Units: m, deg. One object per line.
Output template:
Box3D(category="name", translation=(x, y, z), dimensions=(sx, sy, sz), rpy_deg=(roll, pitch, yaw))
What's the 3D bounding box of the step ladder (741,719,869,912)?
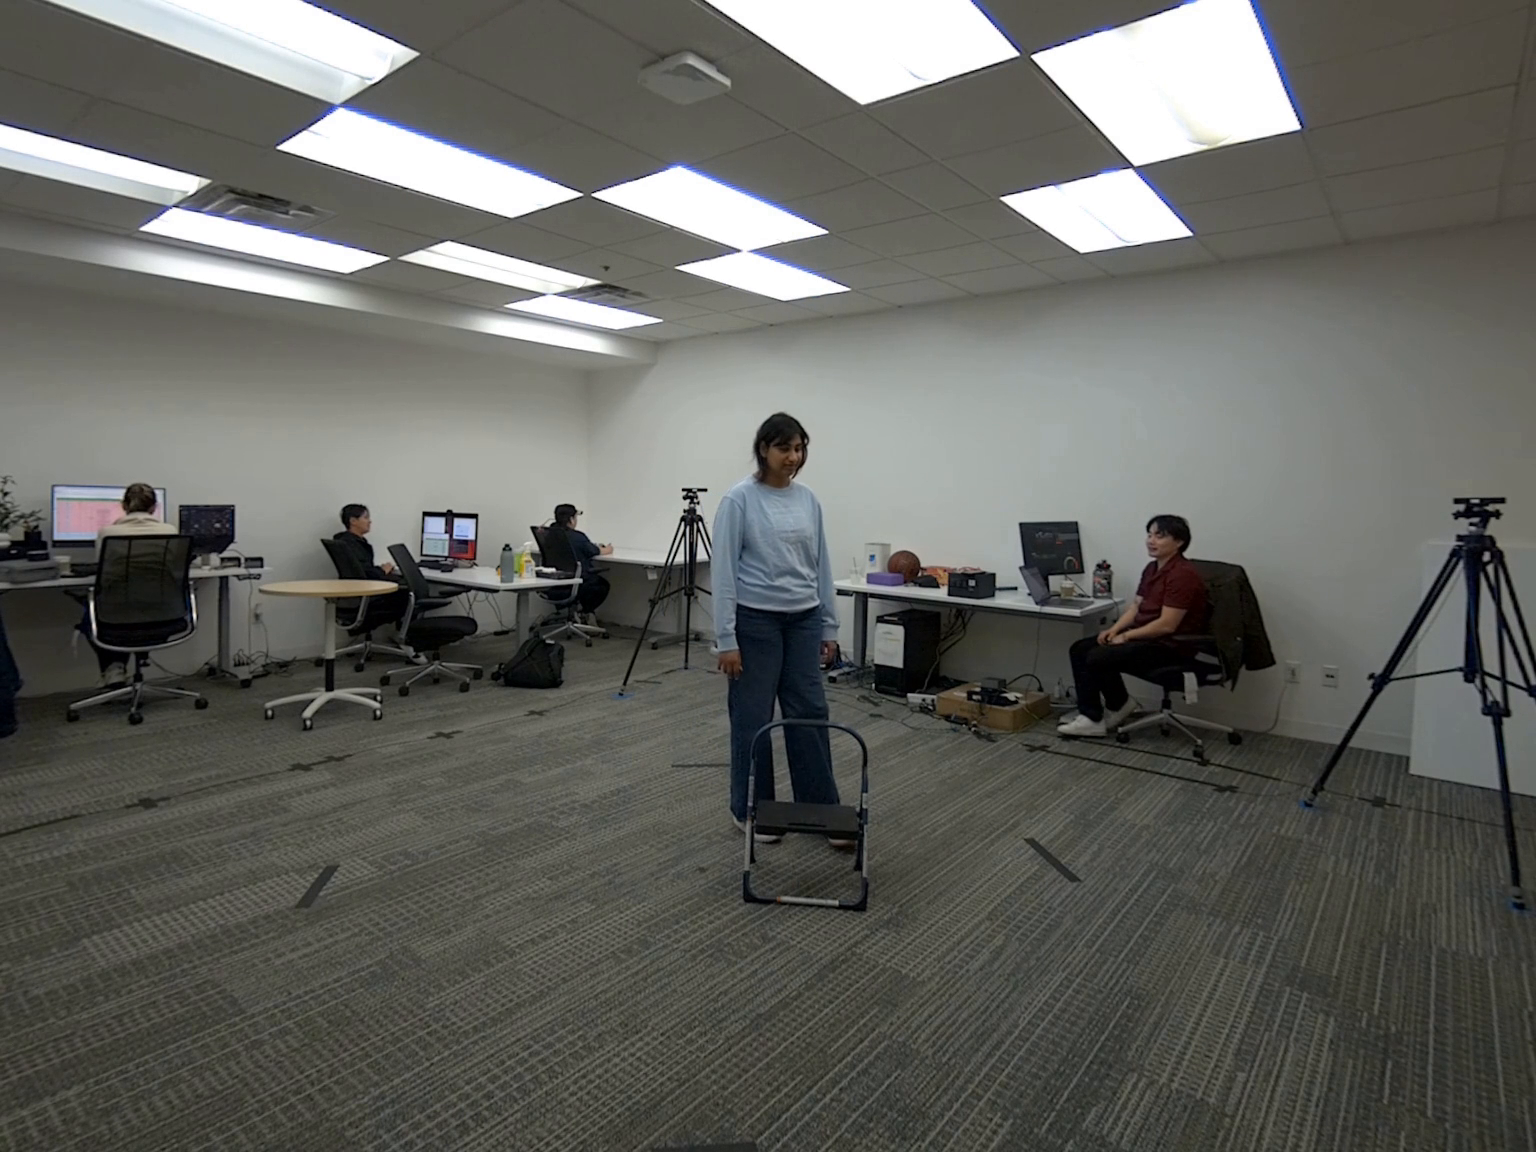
Box3D(category="step ladder", translation=(0.132, 0.786, 2.994), dimensions=(0.433, 0.605, 0.348), rpy_deg=(1, 3, 4))
